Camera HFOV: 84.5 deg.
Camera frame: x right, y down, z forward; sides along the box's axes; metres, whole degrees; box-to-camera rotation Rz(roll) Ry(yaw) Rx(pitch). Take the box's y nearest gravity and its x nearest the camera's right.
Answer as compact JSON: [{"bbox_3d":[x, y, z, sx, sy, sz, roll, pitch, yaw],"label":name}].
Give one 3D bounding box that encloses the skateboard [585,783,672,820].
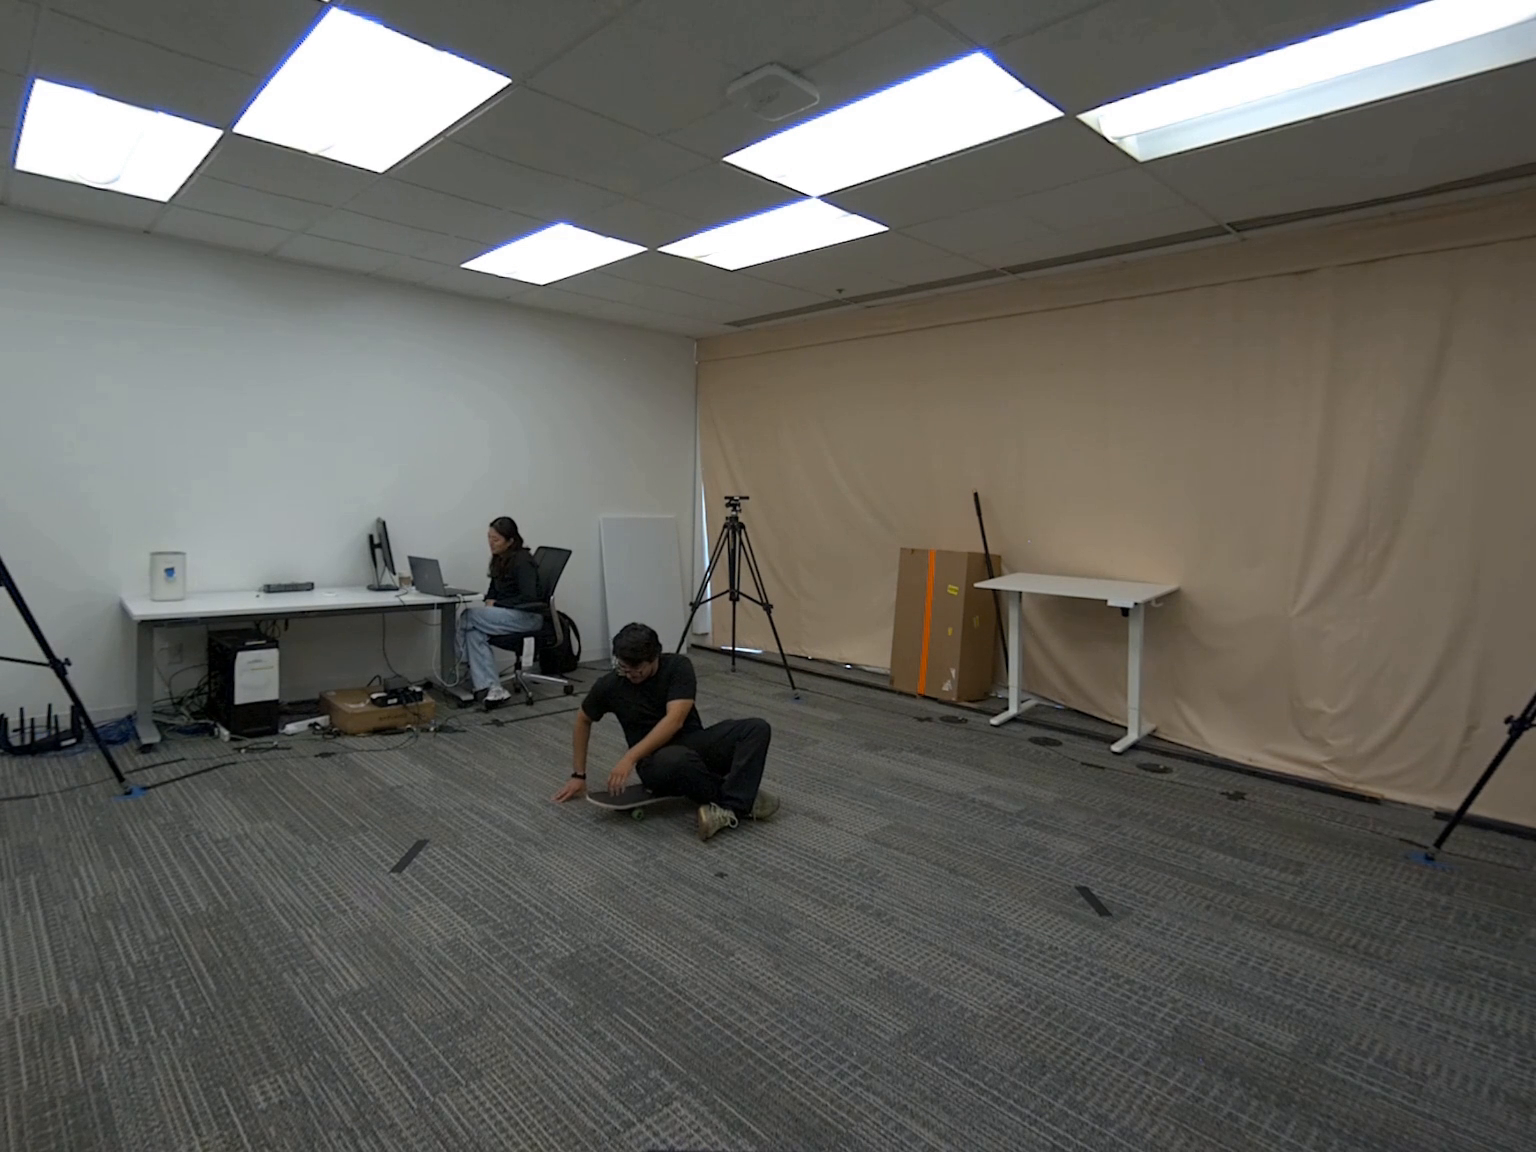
[{"bbox_3d":[-0.459,0.979,3.784,0.768,0.110,0.198,-1,6,-36],"label":"skateboard"}]
